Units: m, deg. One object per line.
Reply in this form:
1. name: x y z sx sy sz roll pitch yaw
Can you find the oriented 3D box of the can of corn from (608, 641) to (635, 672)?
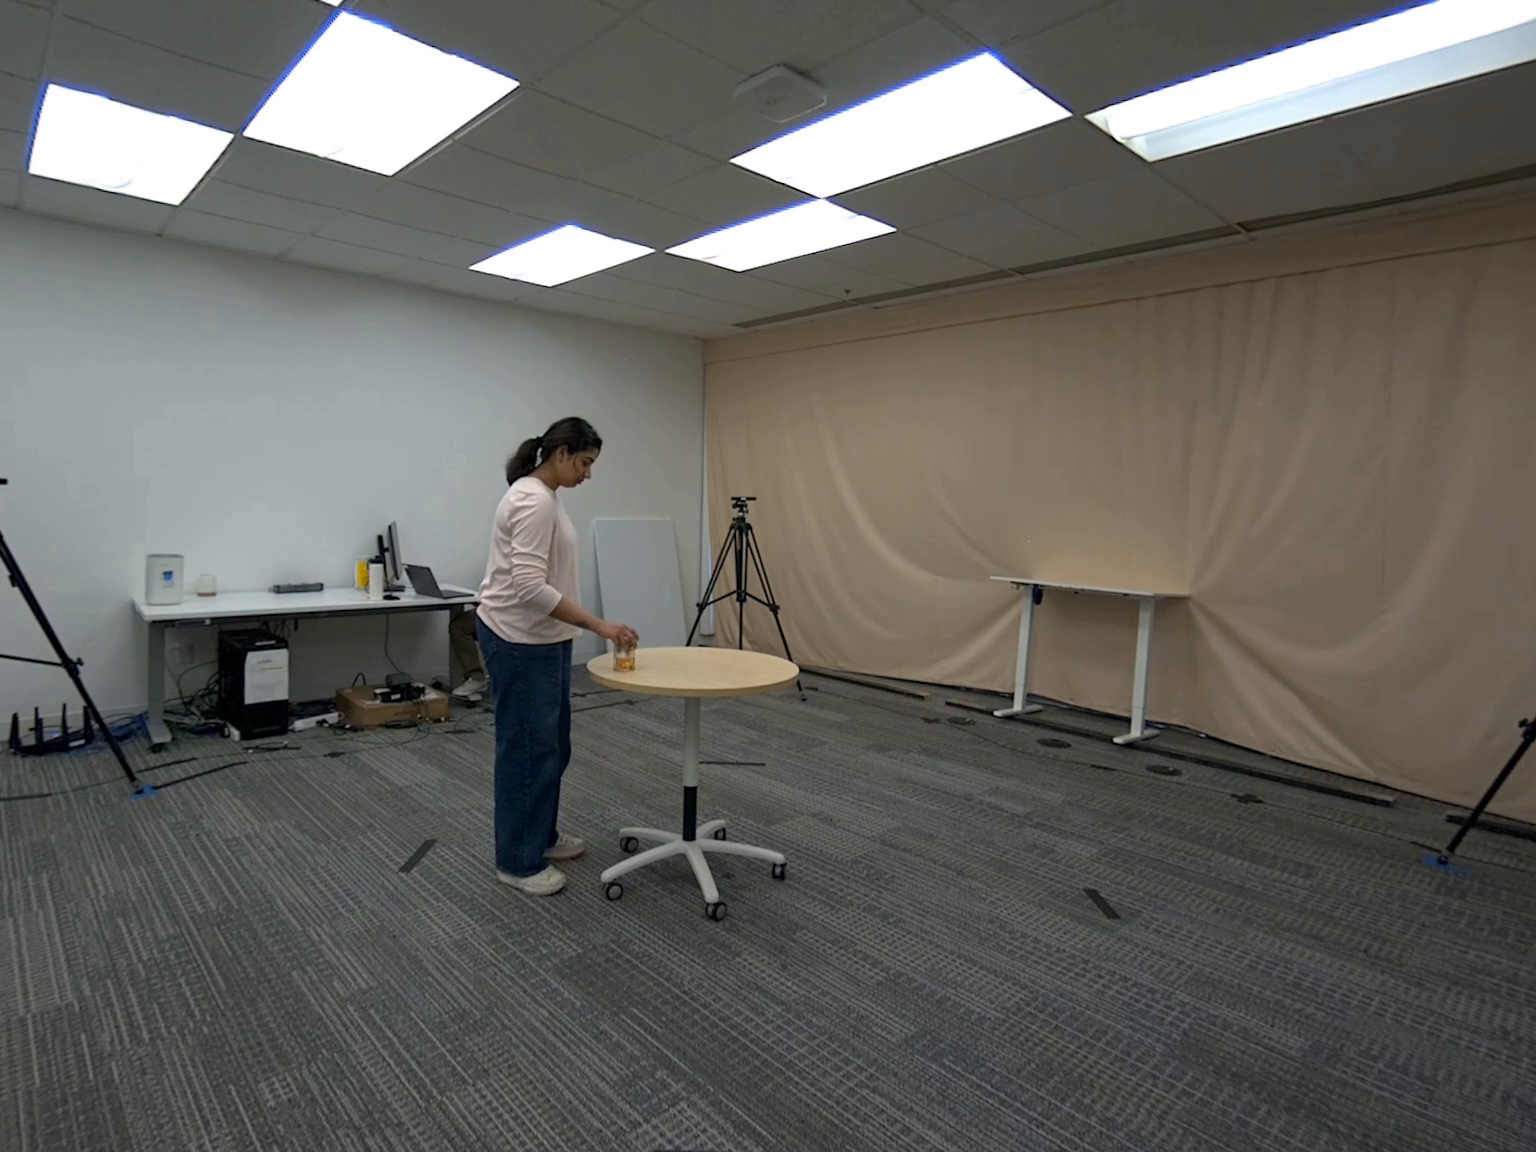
1. can of corn: -0.506 0.271 2.929 0.074 0.111 0.074 1 2 -1
